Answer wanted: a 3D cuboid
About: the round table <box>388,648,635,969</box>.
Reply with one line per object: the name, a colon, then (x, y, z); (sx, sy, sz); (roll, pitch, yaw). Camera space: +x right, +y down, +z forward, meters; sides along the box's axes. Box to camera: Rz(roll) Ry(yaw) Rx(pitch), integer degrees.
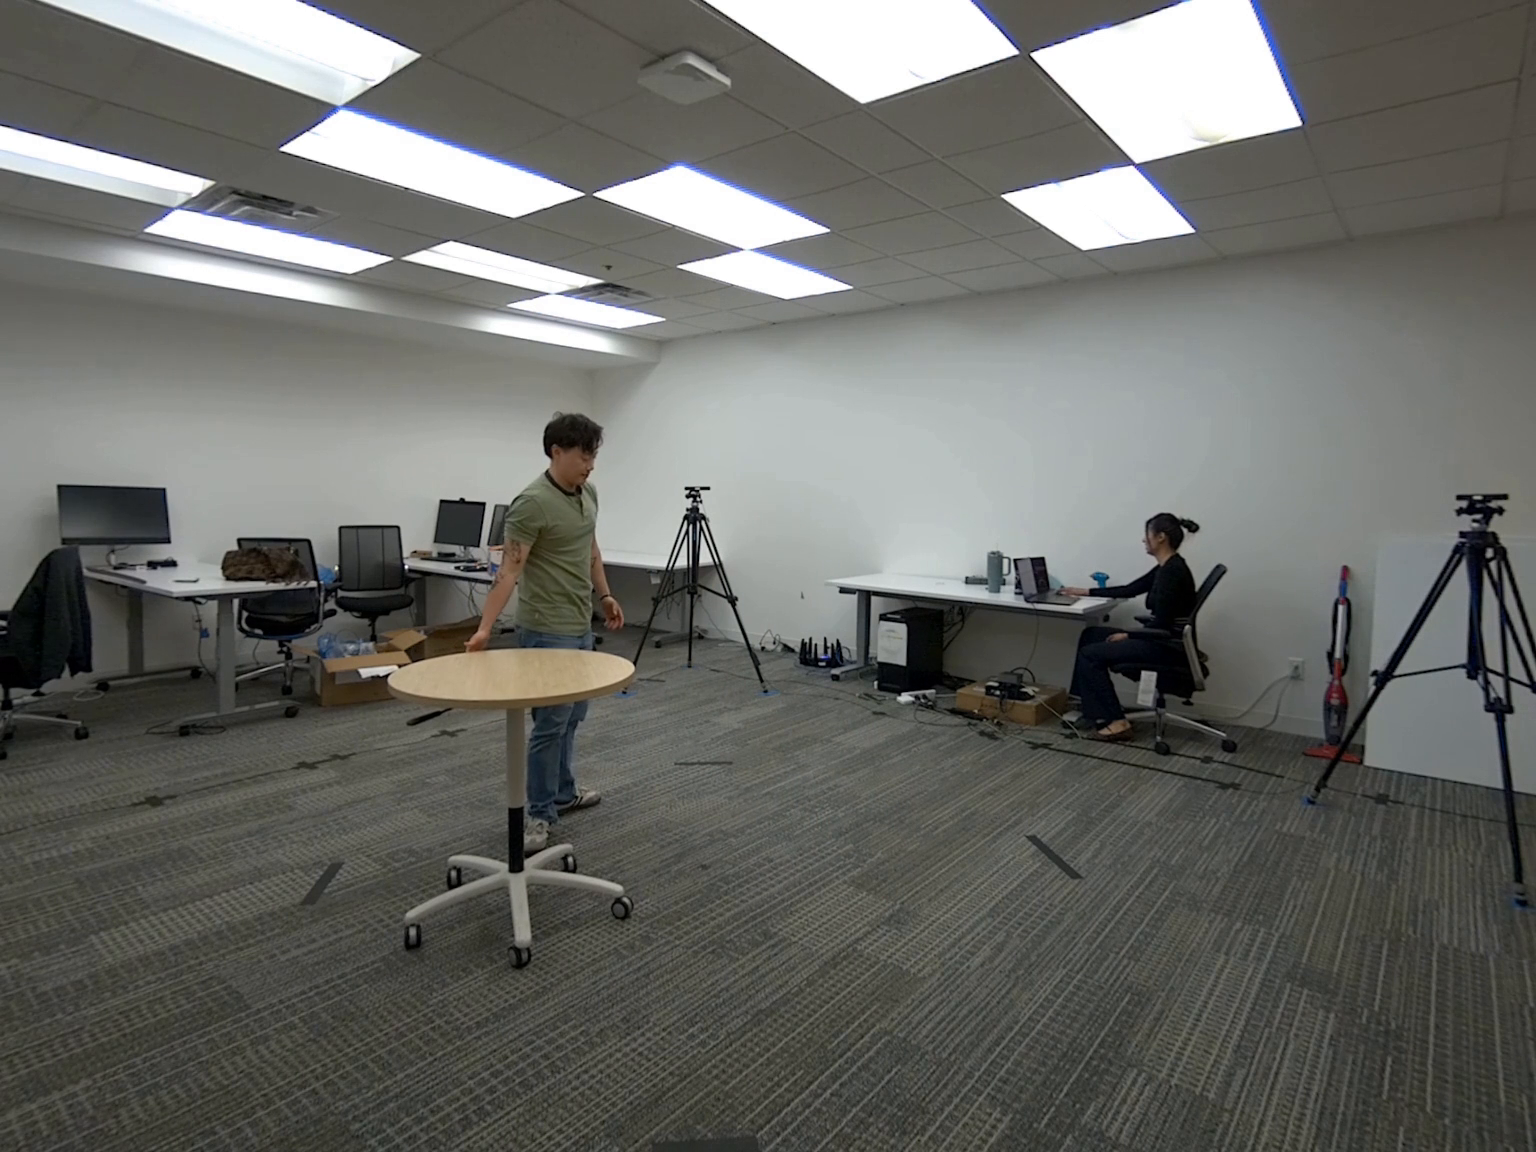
round table: (-0.817, 0.700, 2.744); (0.763, 0.791, 0.768); (0, 4, -2)
